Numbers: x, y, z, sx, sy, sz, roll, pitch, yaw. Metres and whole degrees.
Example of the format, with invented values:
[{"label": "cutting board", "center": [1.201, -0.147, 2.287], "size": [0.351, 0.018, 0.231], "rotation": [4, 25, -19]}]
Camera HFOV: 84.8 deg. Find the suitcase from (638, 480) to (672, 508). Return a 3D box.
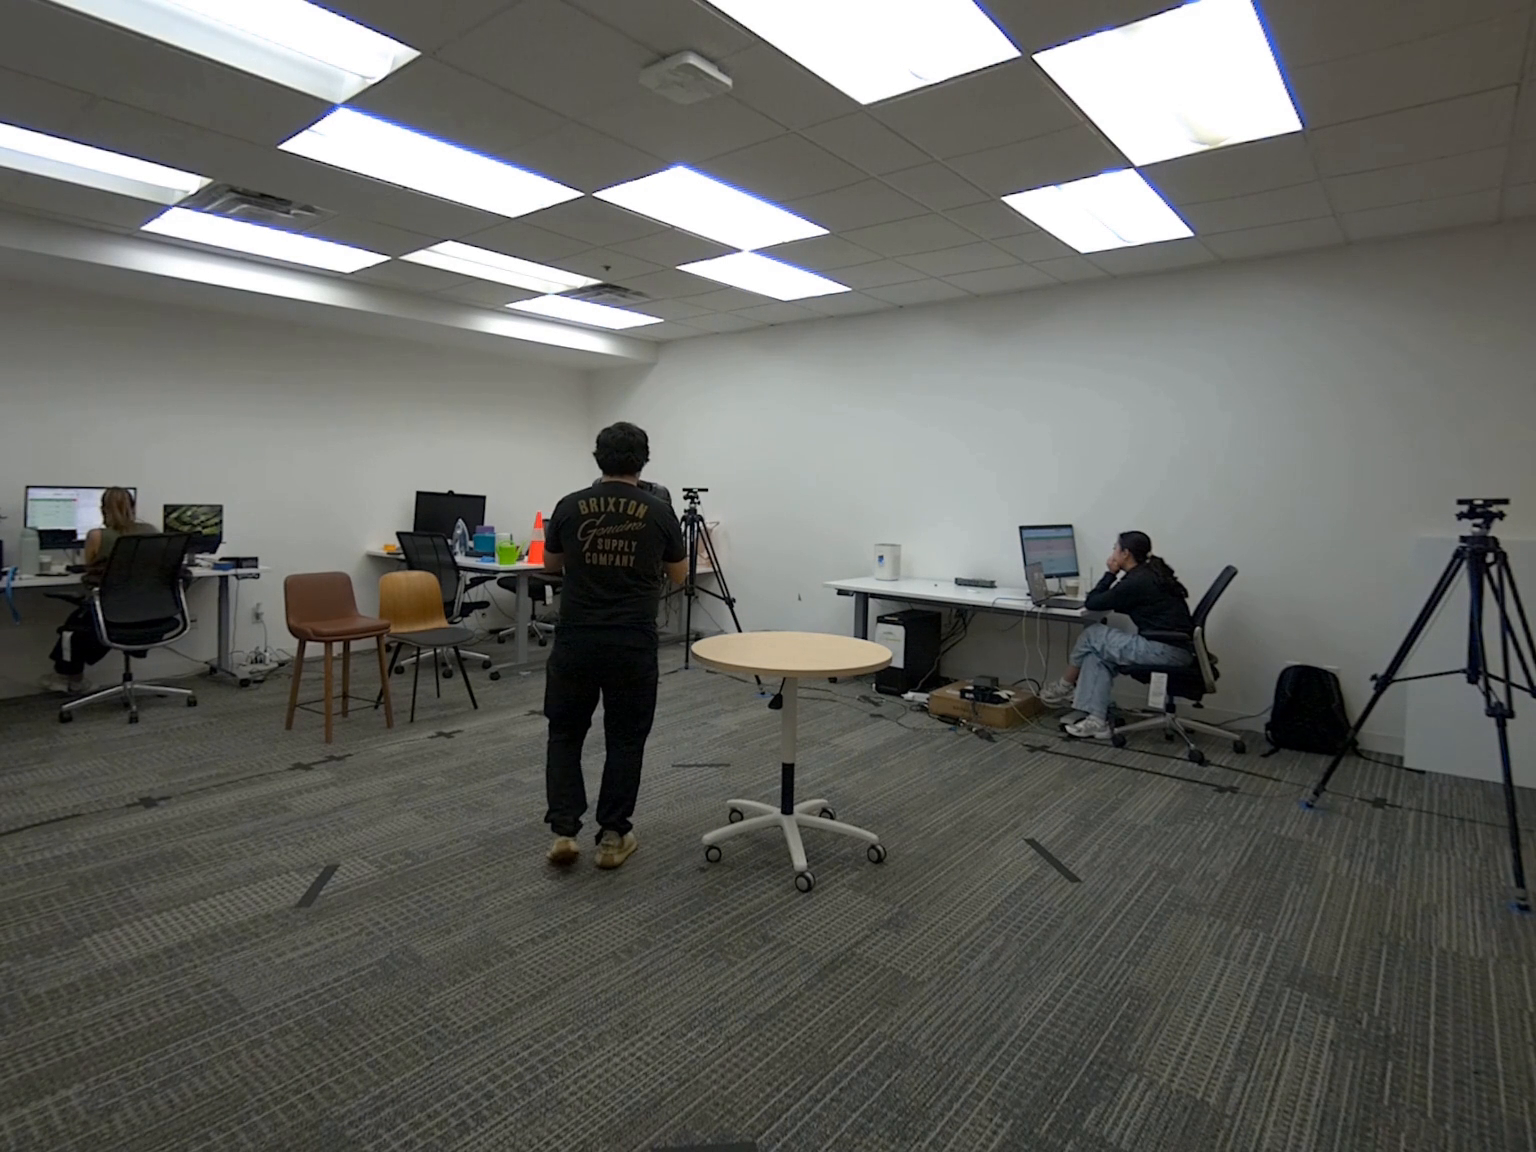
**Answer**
[{"label": "suitcase", "center": [-0.620, -0.139, 3.608], "size": [0.374, 0.556, 0.246], "rotation": [6, -15, -3]}]
